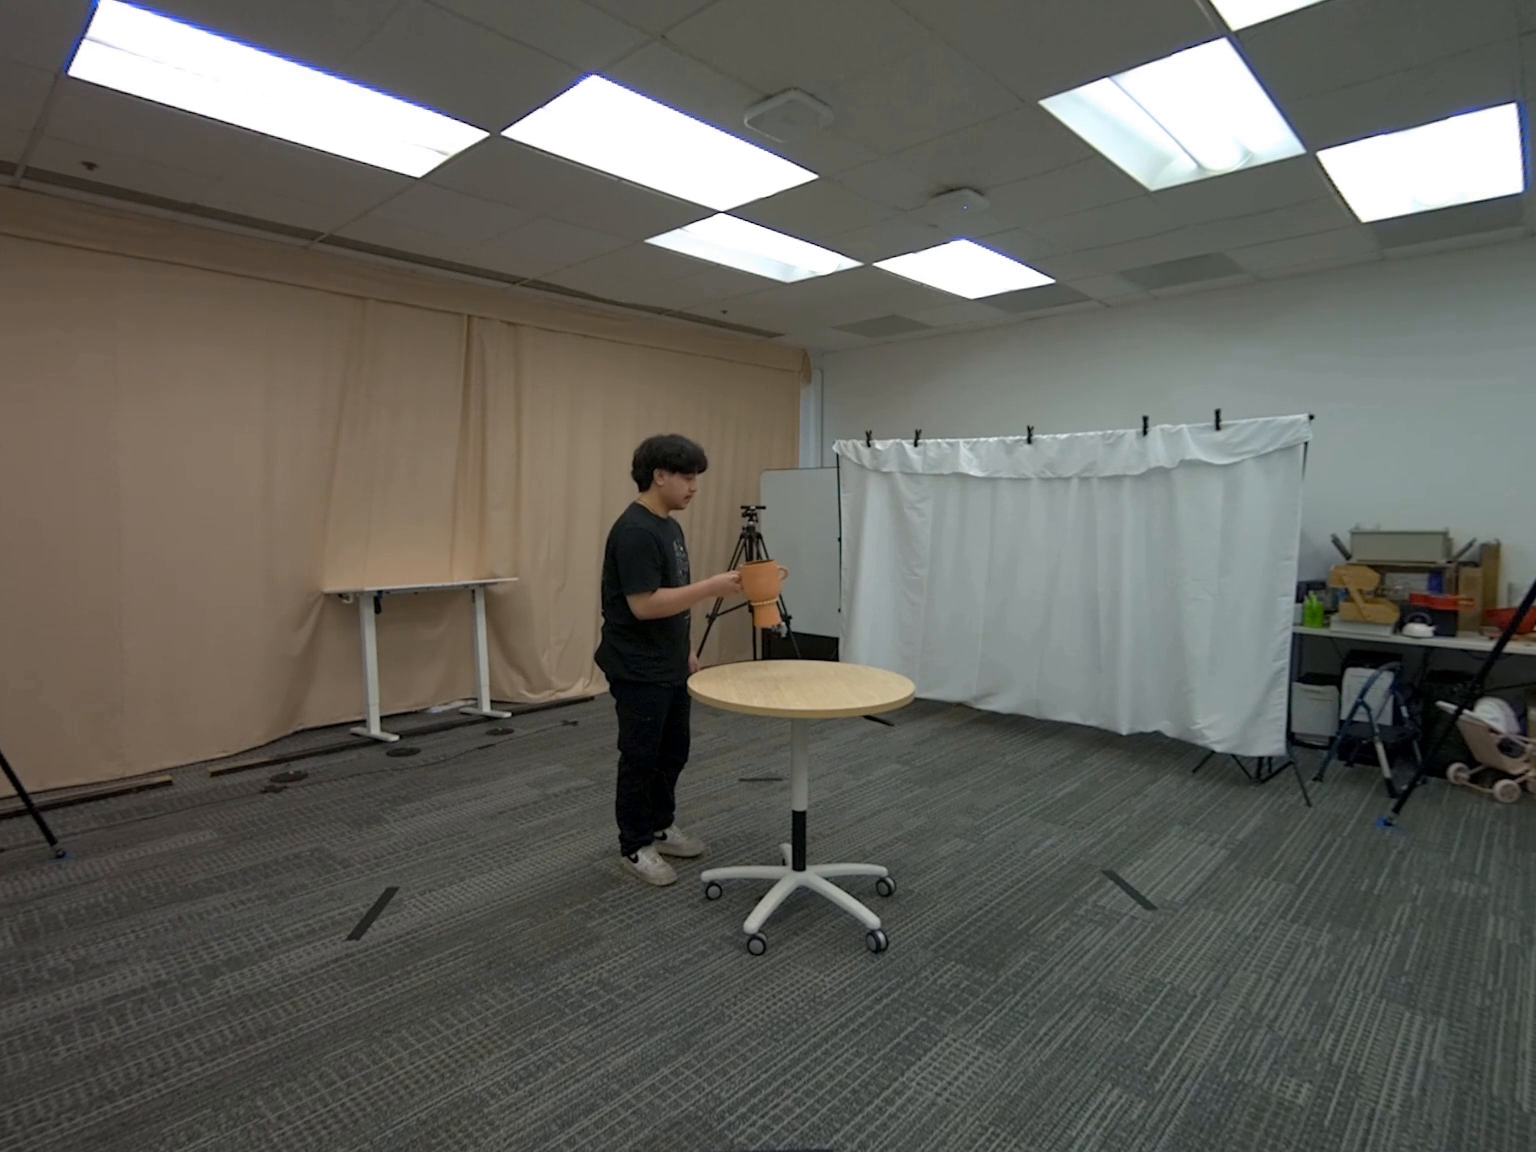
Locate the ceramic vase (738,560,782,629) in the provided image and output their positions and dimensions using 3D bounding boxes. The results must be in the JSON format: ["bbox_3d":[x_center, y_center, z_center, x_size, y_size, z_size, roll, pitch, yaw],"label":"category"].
[{"bbox_3d":[-0.018,0.063,2.941,0.131,0.219,0.164,-12,7,-41],"label":"ceramic vase"}]
